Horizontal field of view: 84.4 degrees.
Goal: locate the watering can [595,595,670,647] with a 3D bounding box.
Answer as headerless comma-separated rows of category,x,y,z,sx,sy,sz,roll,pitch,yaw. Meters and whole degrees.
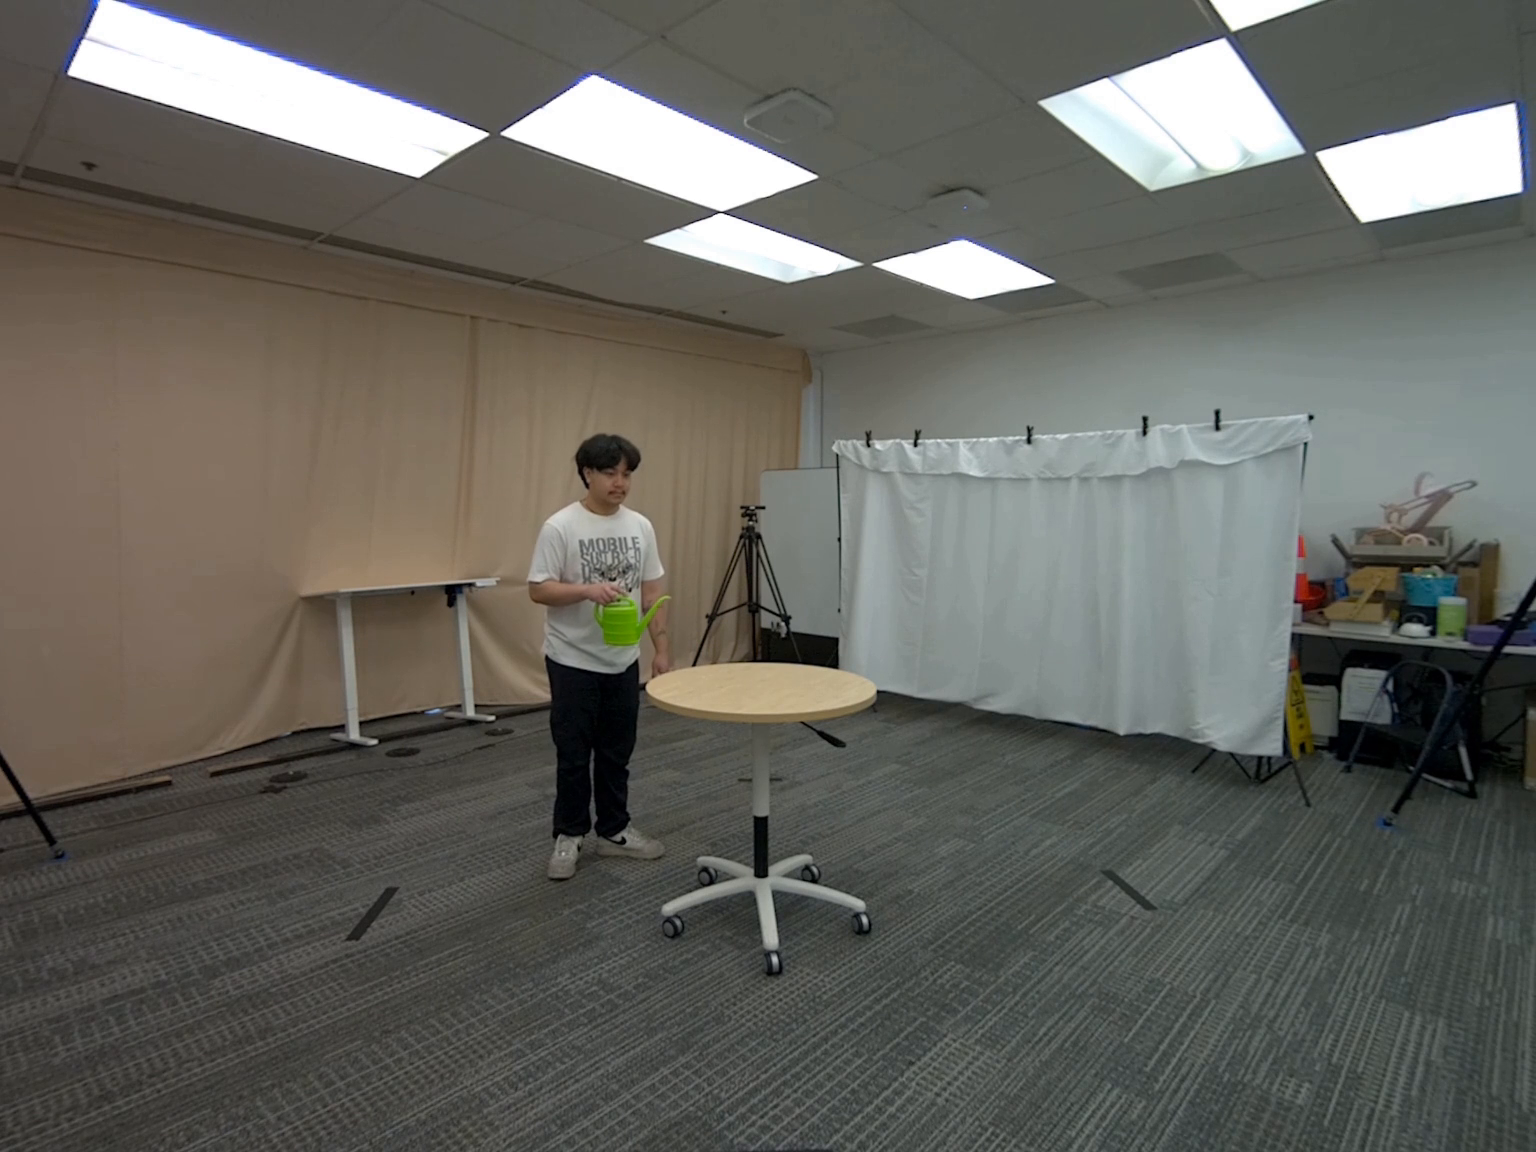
watering can,-0.490,0.161,3.020,0.284,0.176,0.096,4,8,19
